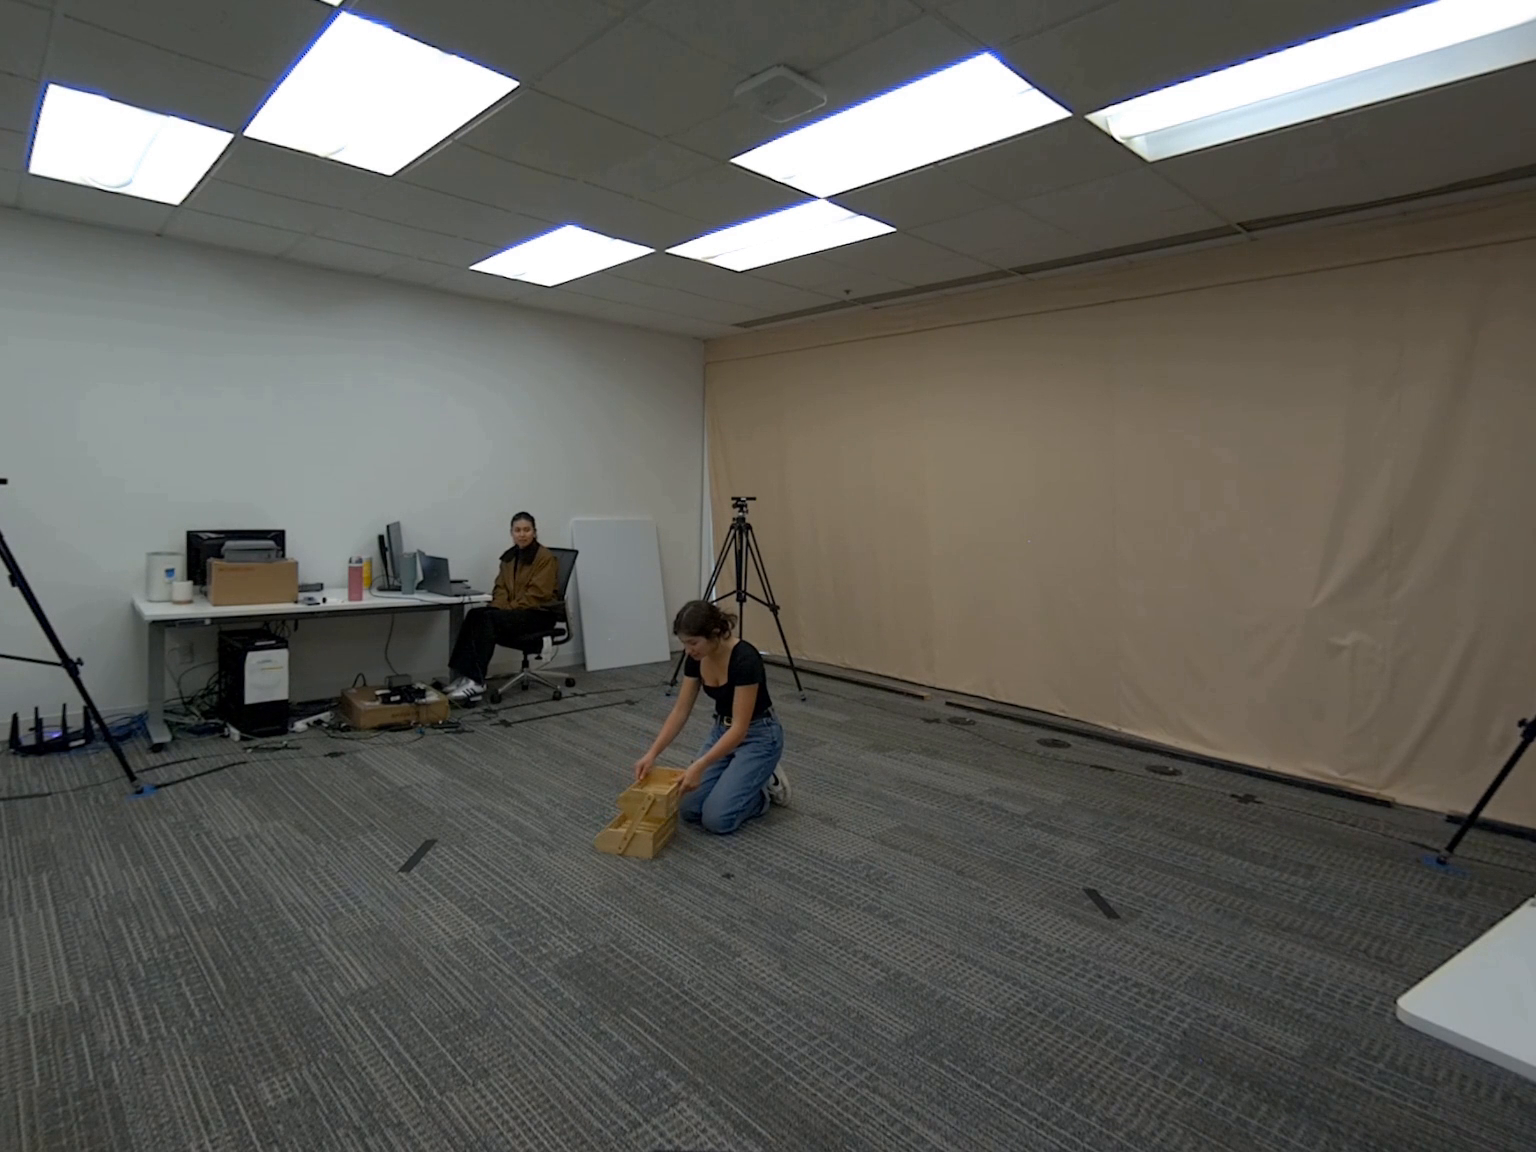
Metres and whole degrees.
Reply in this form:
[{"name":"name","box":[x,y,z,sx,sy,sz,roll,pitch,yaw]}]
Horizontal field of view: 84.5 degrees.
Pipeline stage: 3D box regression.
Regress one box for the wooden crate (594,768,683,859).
[{"name":"wooden crate","box":[-0.518,0.938,3.396,0.305,0.272,0.322,4,4,13]}]
